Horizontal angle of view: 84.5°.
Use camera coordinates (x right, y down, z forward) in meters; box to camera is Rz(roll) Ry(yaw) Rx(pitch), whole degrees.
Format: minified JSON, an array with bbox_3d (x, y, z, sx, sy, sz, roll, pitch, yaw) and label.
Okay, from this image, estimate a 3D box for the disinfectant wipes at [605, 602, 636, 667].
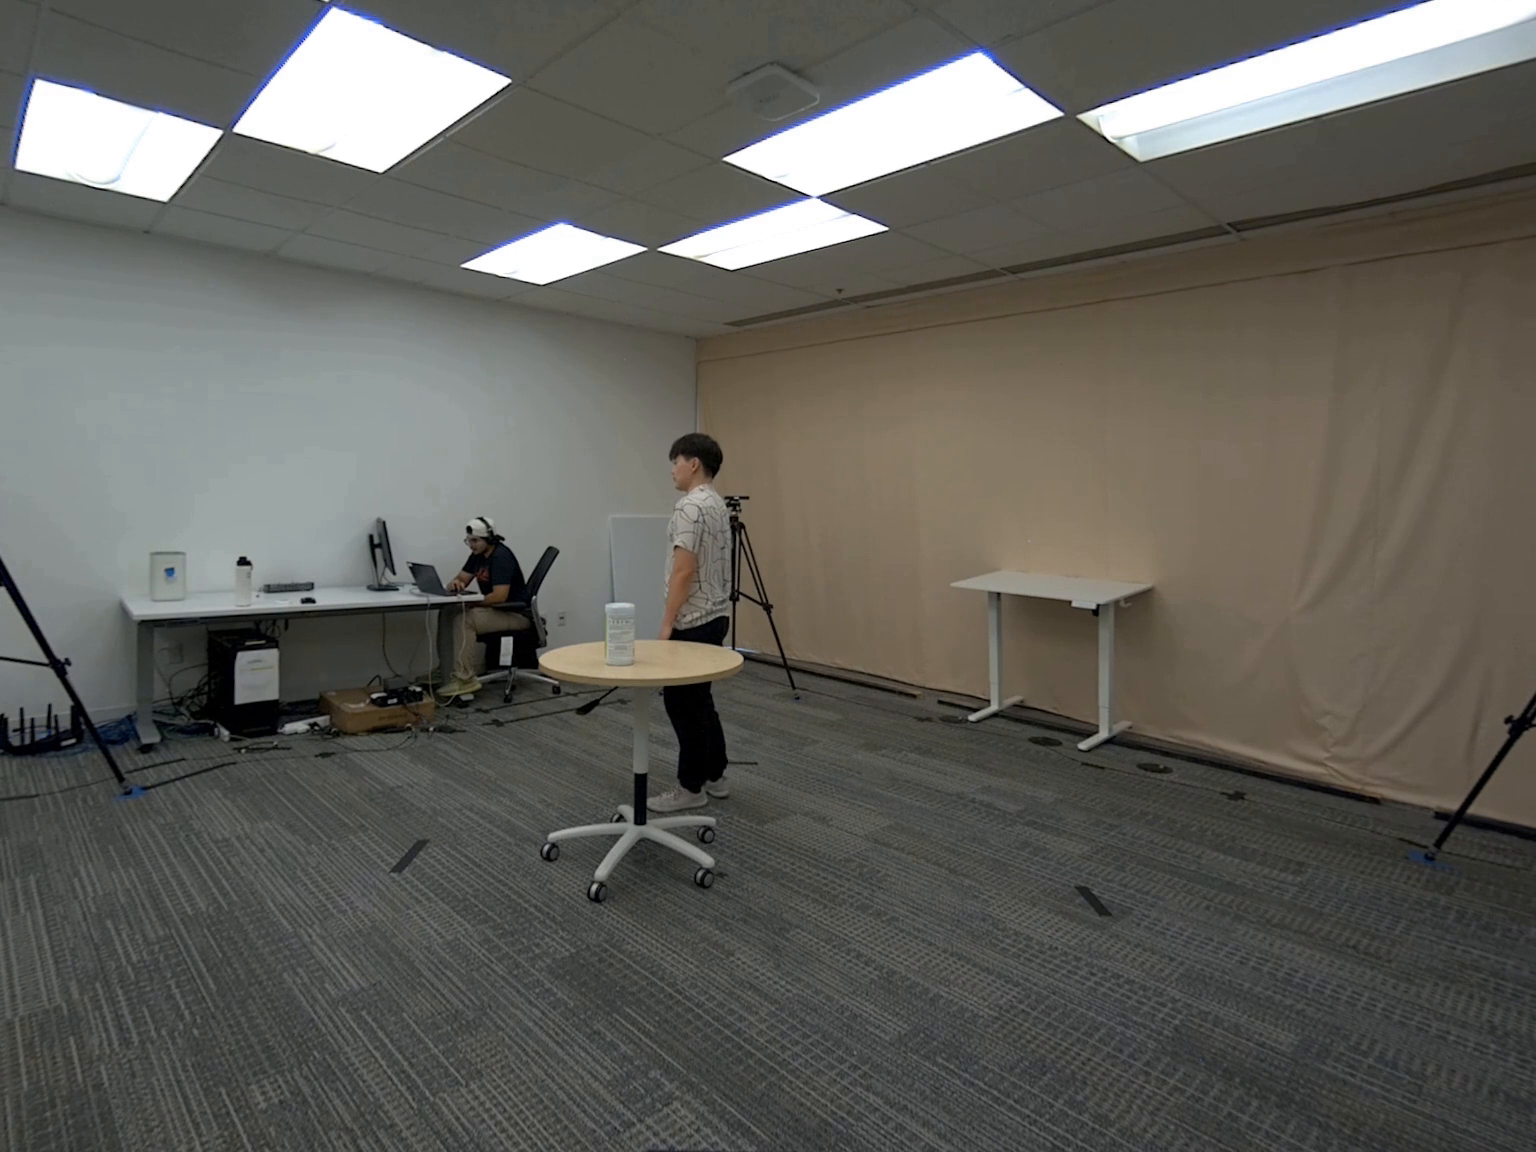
[{"bbox_3d":[-0.549,0.213,3.055,0.118,0.217,0.118,2,4,-1],"label":"disinfectant wipes"}]
